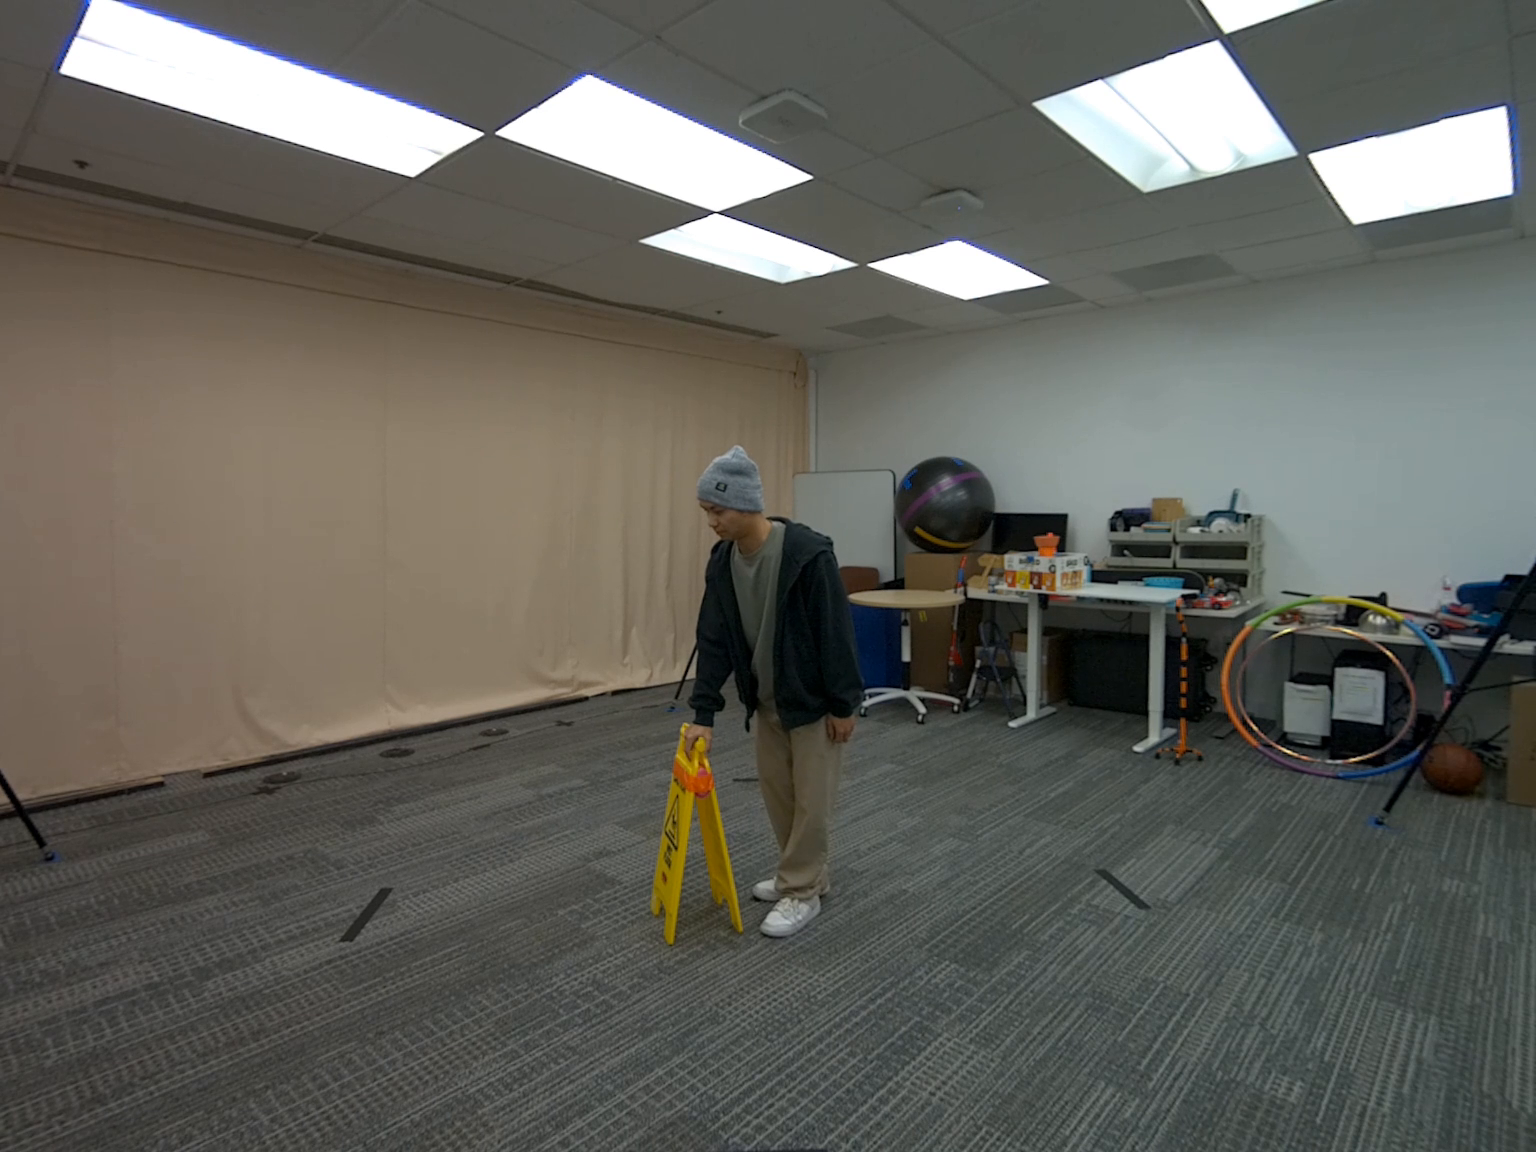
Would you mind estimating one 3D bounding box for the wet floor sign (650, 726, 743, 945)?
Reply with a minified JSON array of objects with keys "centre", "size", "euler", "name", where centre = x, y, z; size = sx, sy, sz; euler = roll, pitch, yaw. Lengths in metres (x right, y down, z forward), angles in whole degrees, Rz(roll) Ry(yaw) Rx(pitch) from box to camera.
[{"centre":[-0.247,0.833,2.815],"size":[0.284,0.645,0.288],"euler":[-3,3,-19],"name":"wet floor sign"}]
